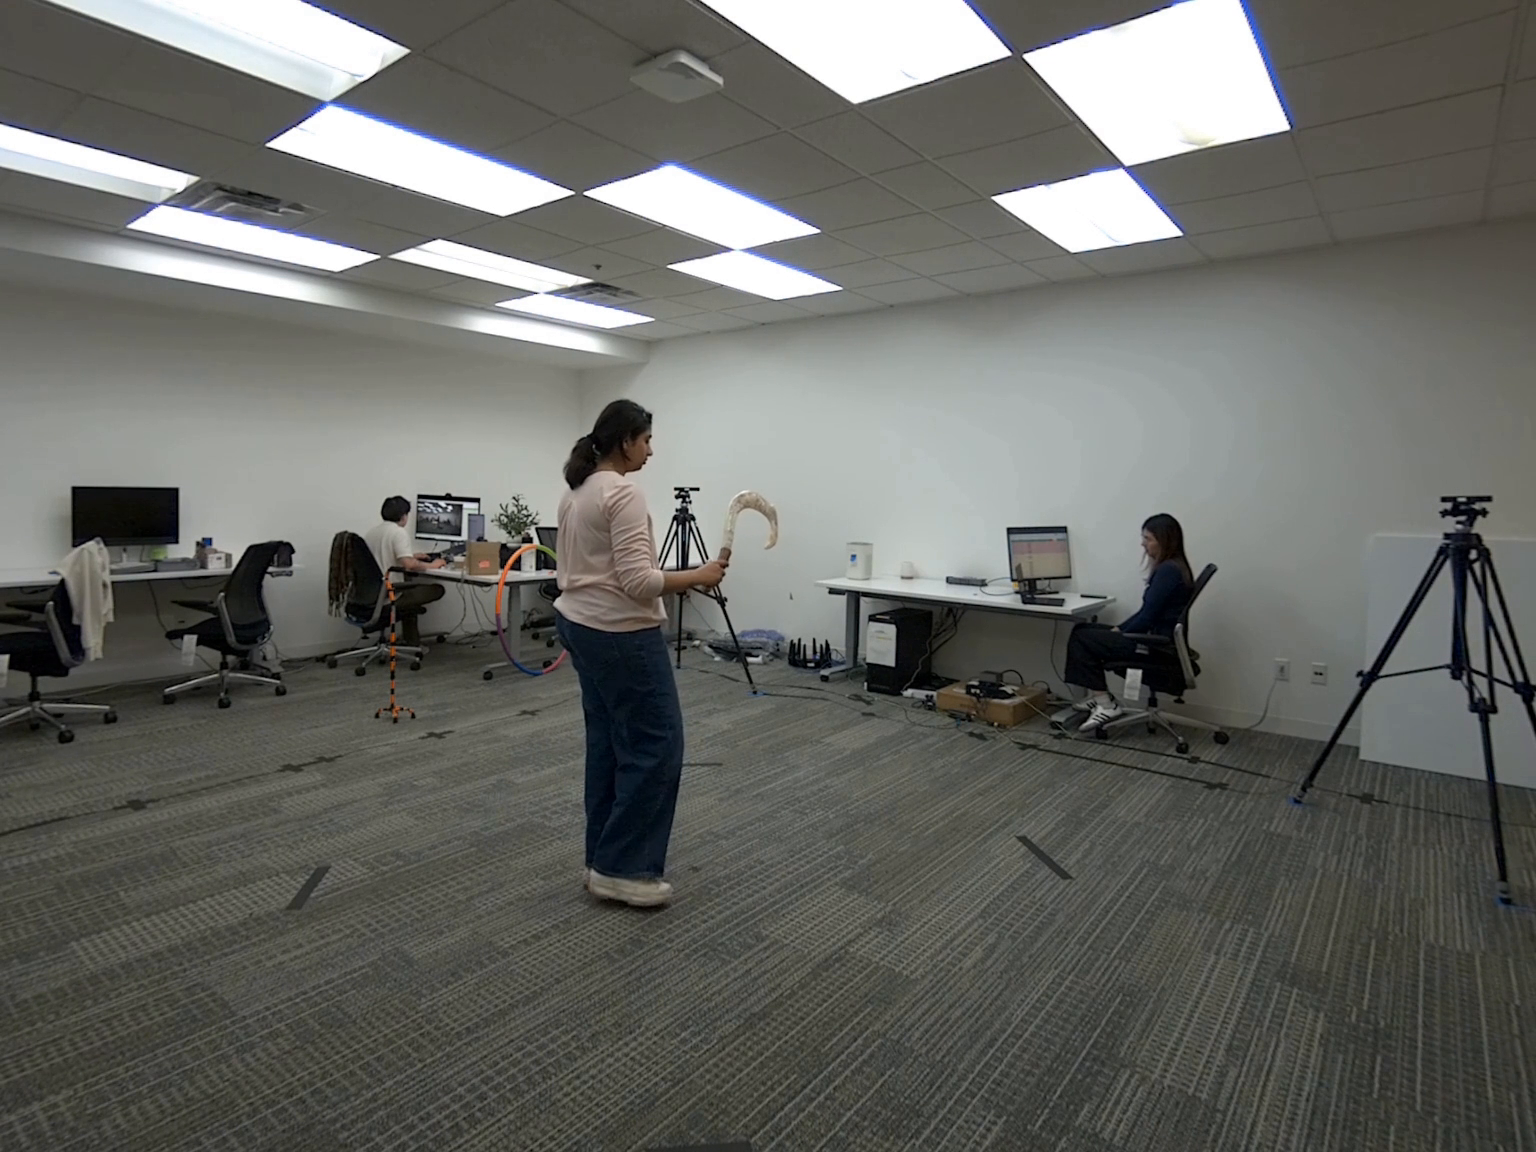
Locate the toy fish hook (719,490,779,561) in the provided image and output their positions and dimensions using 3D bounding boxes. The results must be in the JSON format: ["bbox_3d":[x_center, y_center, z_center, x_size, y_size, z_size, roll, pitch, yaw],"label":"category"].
[{"bbox_3d":[-0.103,-0.103,3.074,0.222,0.513,0.048,31,-36,-10],"label":"toy fish hook"}]
